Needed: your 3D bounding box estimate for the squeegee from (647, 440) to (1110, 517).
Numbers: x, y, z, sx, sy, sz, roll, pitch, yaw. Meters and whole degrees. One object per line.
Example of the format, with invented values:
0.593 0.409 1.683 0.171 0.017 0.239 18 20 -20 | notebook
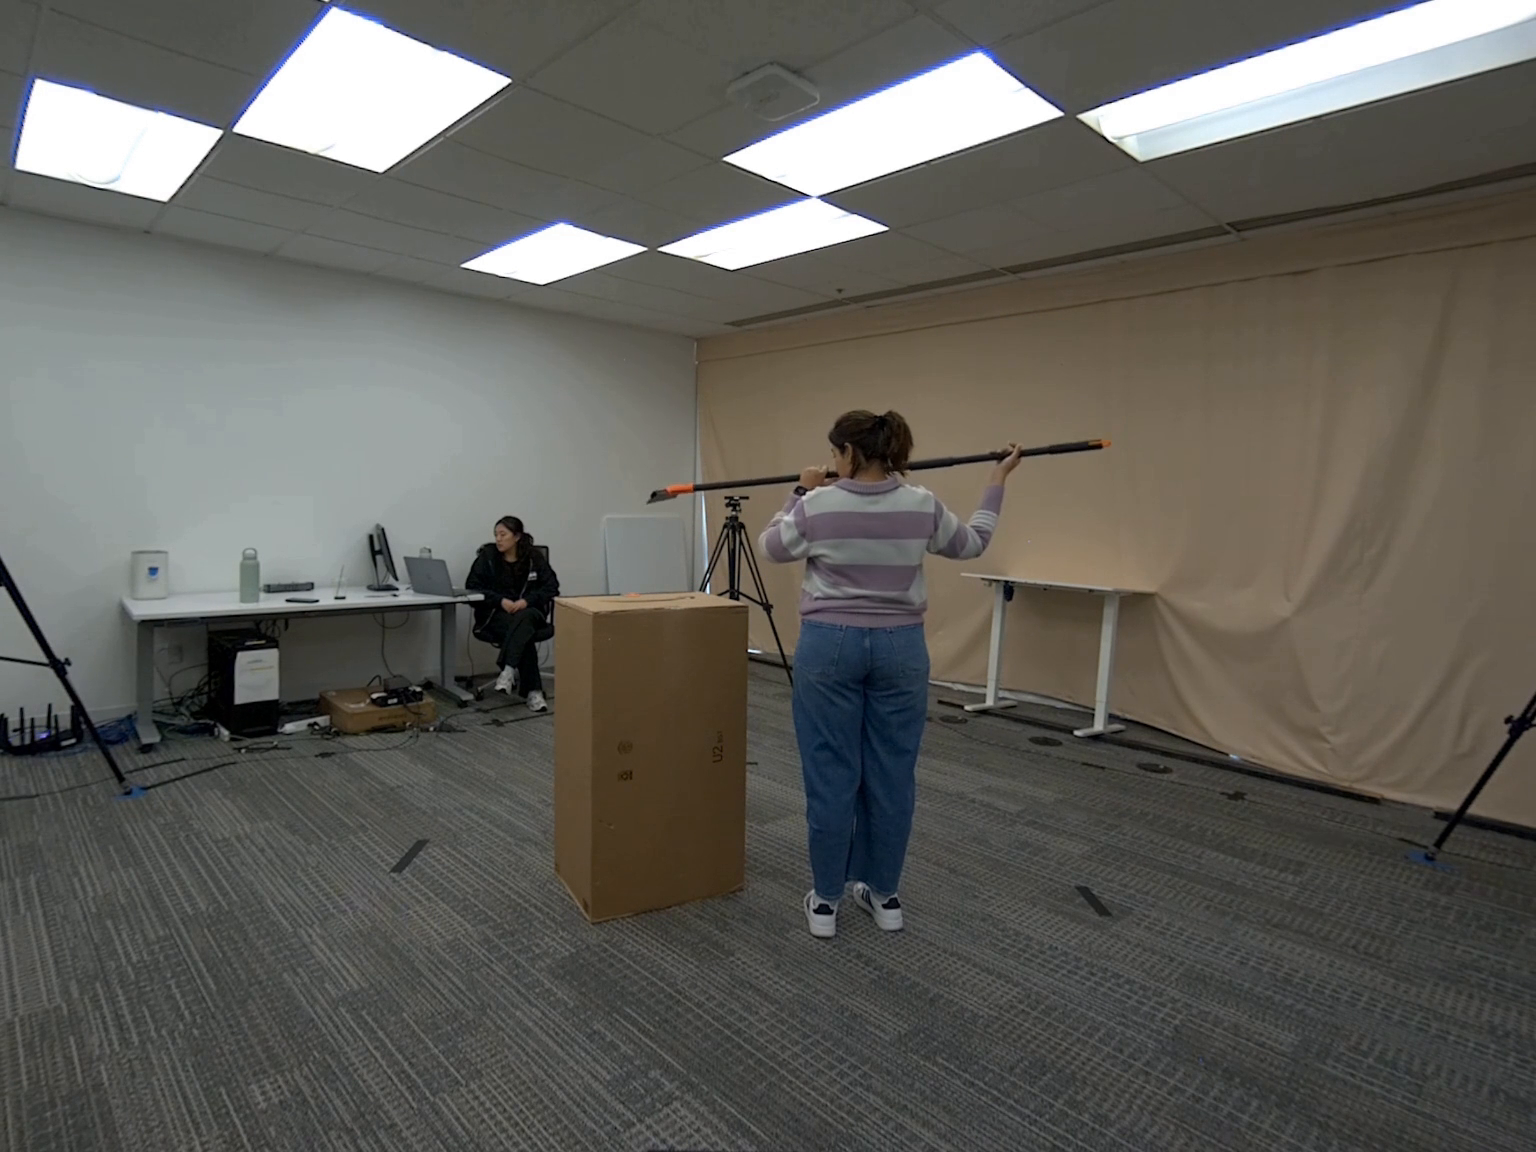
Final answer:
0.358 -0.364 2.930 1.549 0.052 0.437 -6 8 10 | squeegee
